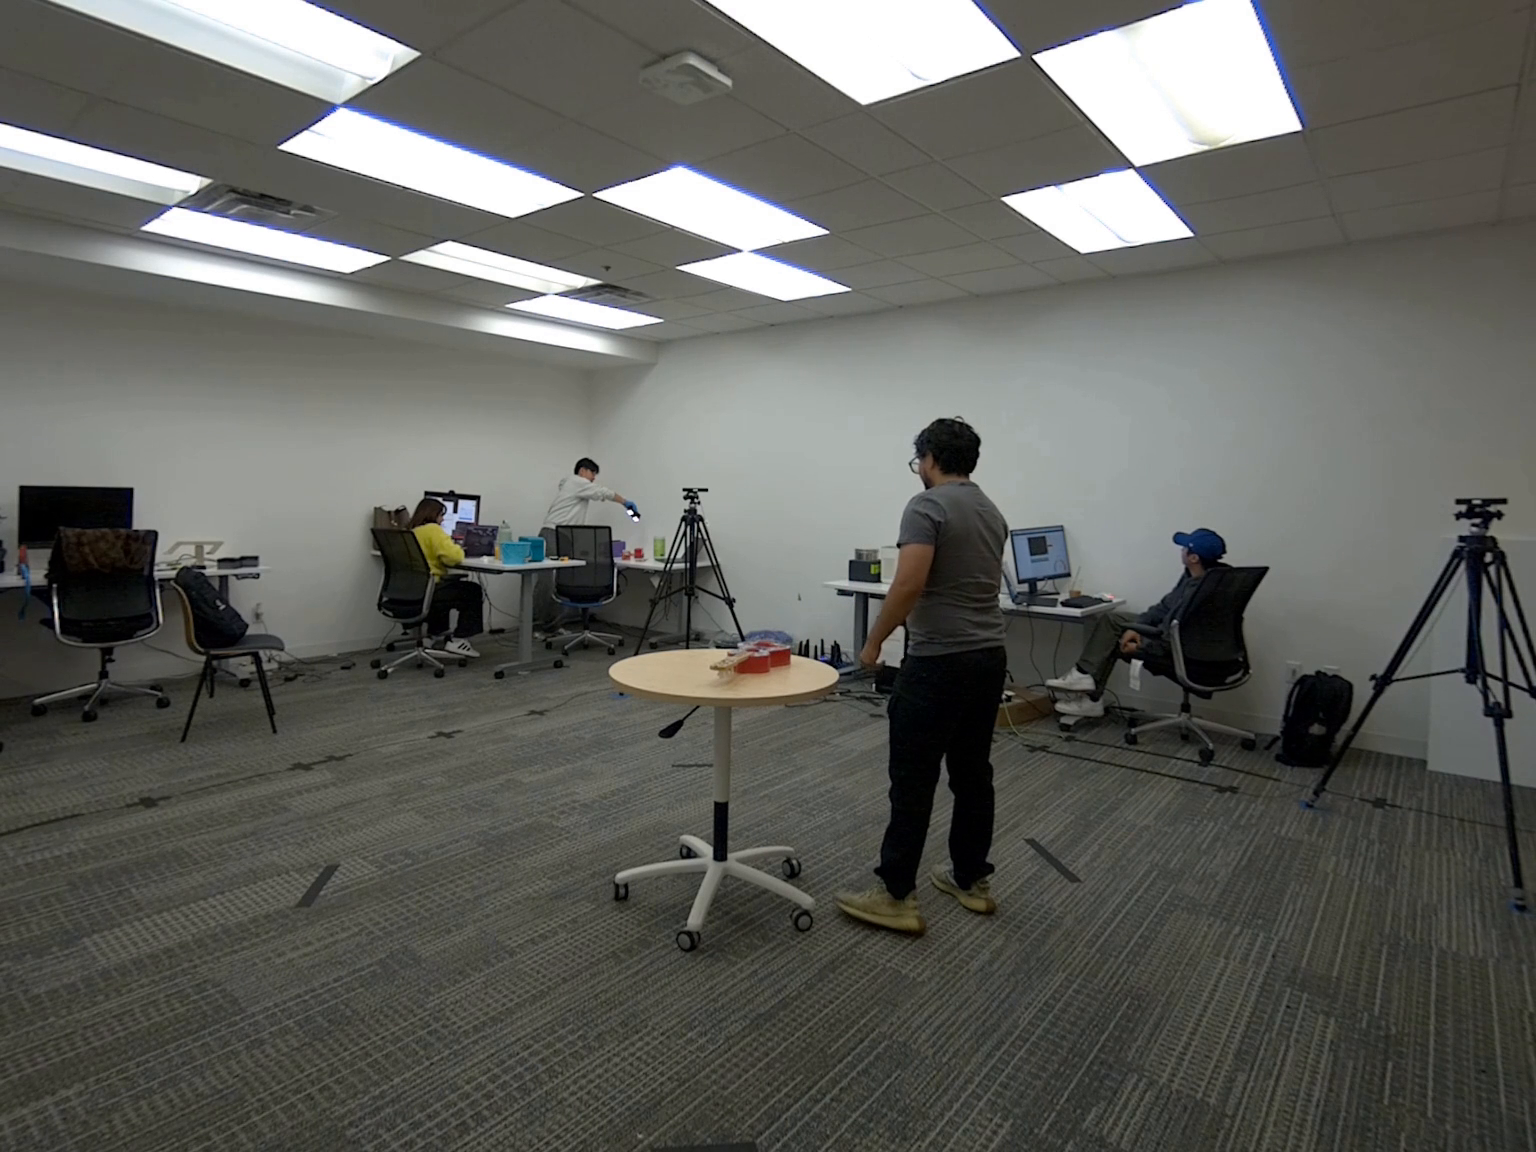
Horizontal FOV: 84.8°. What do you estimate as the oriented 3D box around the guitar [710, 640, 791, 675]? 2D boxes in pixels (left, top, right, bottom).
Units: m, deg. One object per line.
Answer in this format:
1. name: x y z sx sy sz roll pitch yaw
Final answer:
1. guitar: -0.106 0.275 2.855 0.199 0.070 0.485 8 9 29
